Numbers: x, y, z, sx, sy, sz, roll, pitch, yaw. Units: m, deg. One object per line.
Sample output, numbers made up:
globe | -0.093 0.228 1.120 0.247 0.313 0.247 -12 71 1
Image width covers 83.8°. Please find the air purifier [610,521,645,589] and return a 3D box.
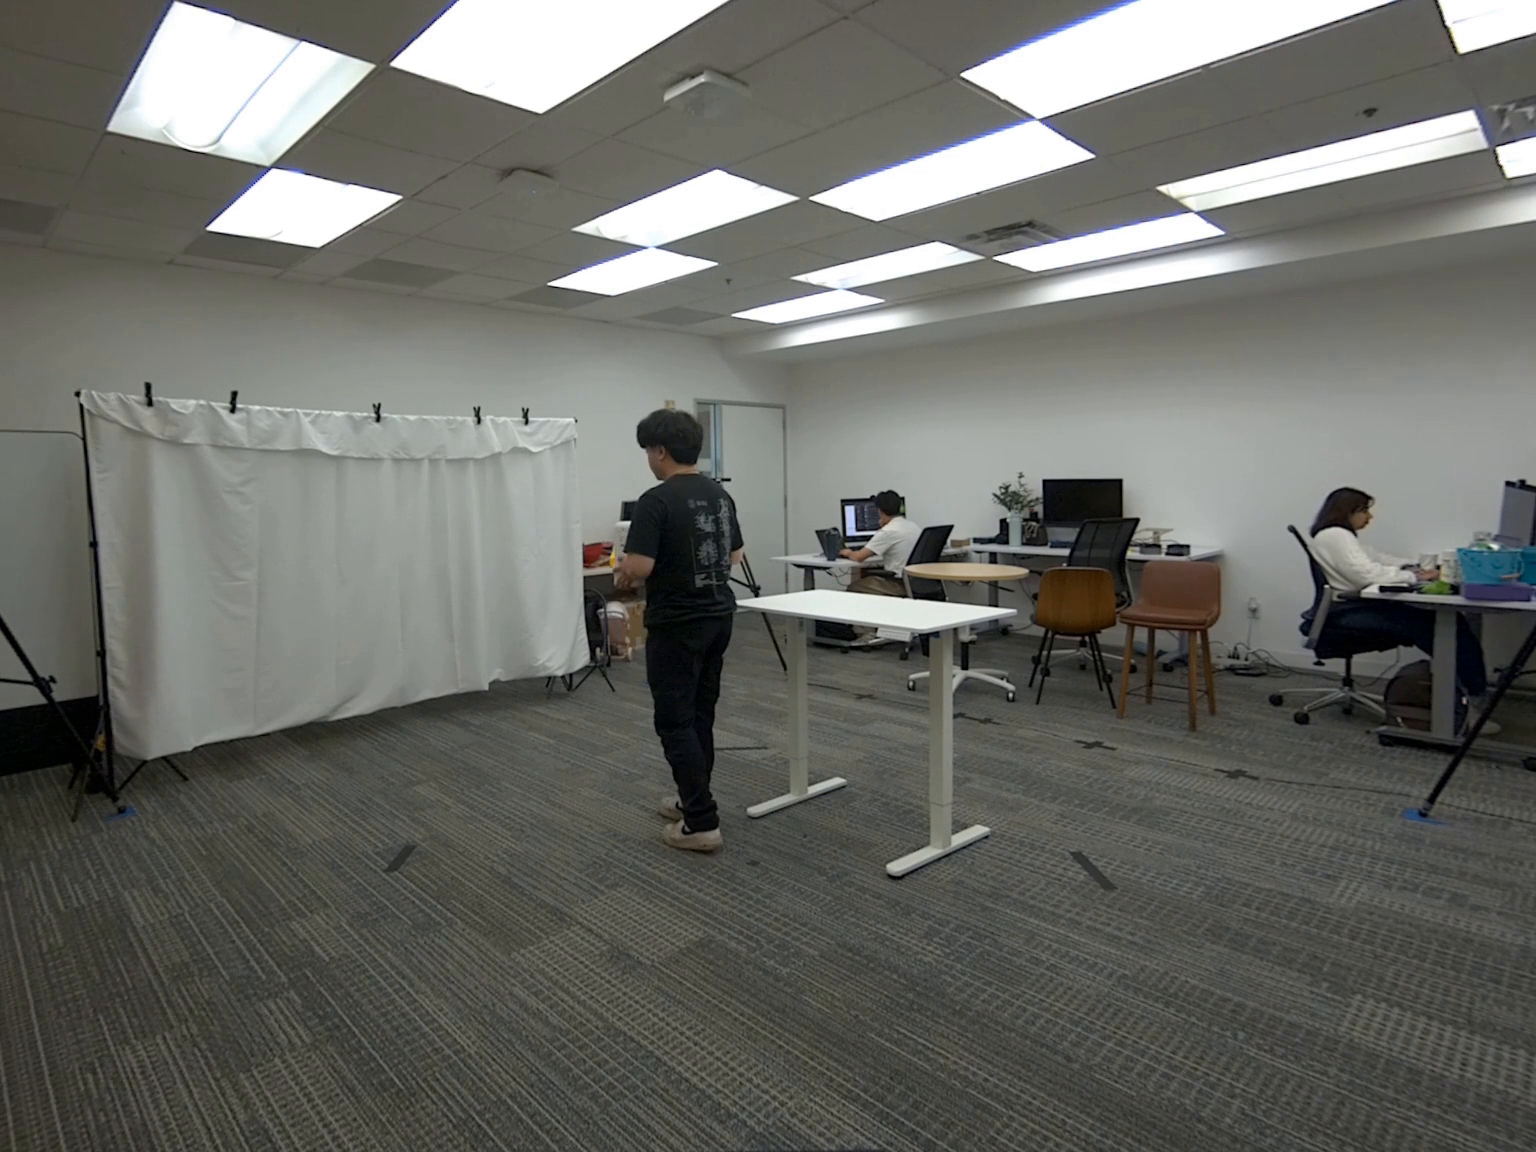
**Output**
air purifier | -0.526 -0.094 3.531 0.176 0.265 0.167 1 3 40
